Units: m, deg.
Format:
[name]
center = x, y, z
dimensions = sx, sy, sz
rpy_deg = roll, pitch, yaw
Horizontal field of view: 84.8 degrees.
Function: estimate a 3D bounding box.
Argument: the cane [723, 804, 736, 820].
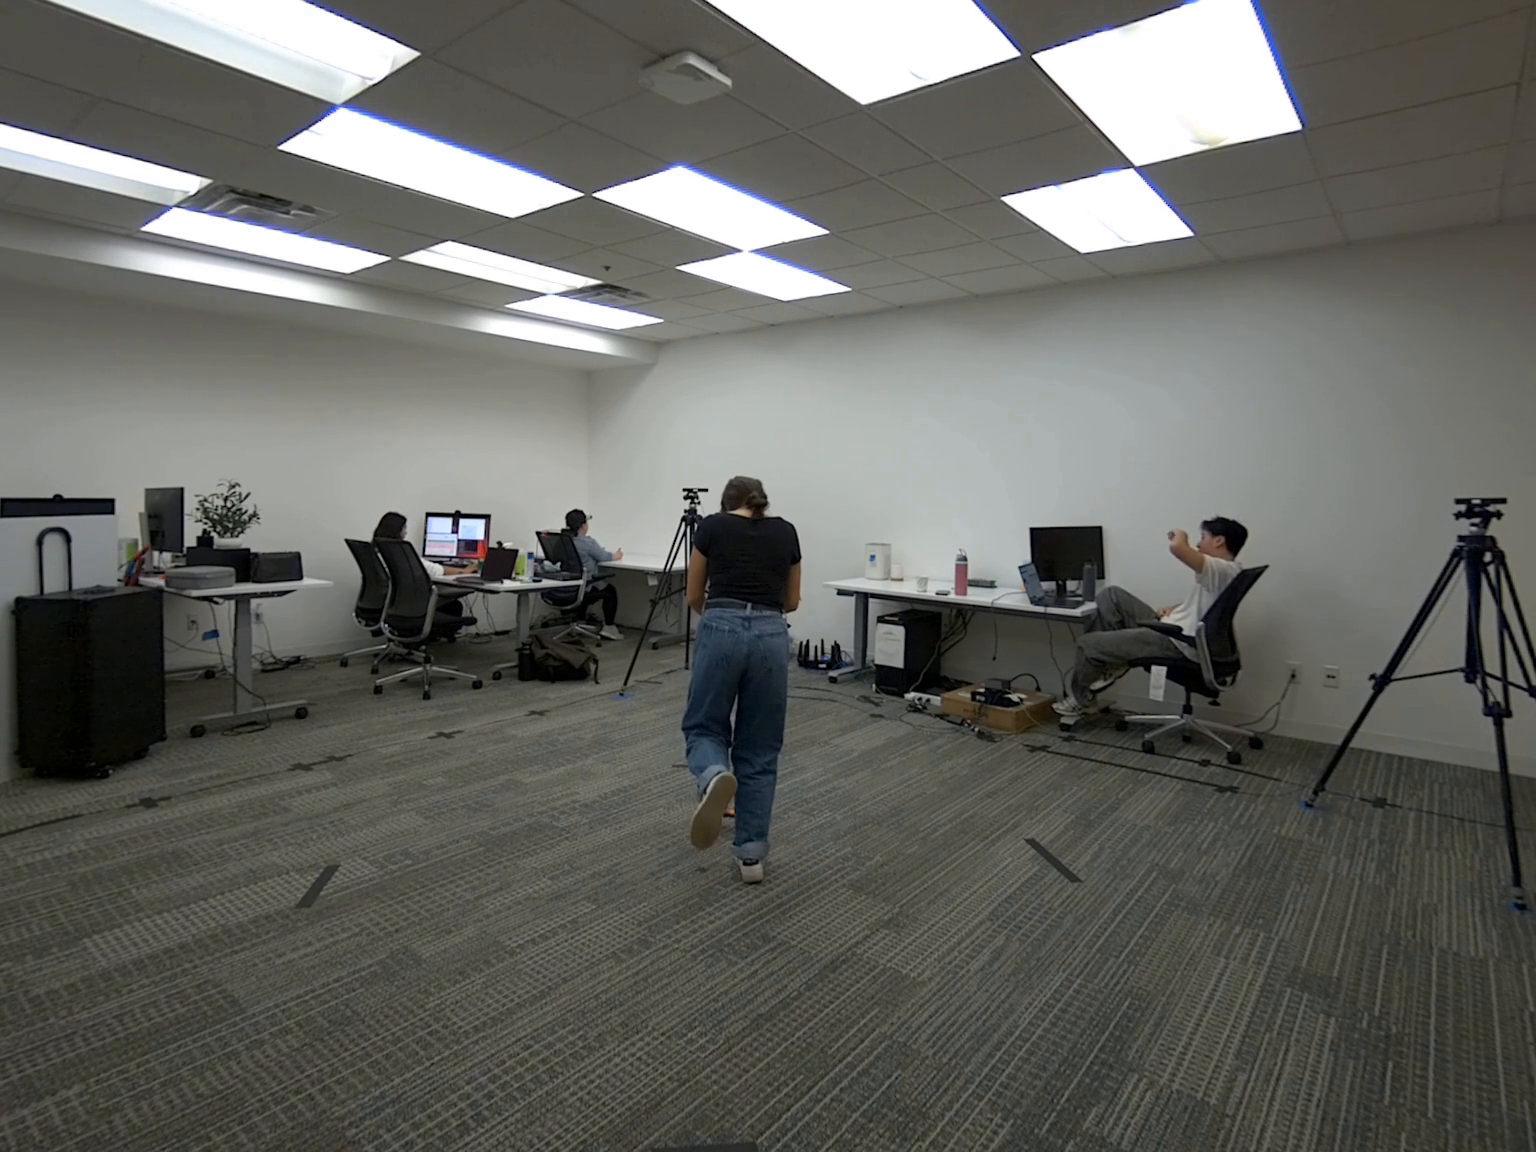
[cane]
center = -0.173, 0.558, 3.517
dimensions = 0.205, 0.909, 0.152
rpy_deg = 1, -1, -5
